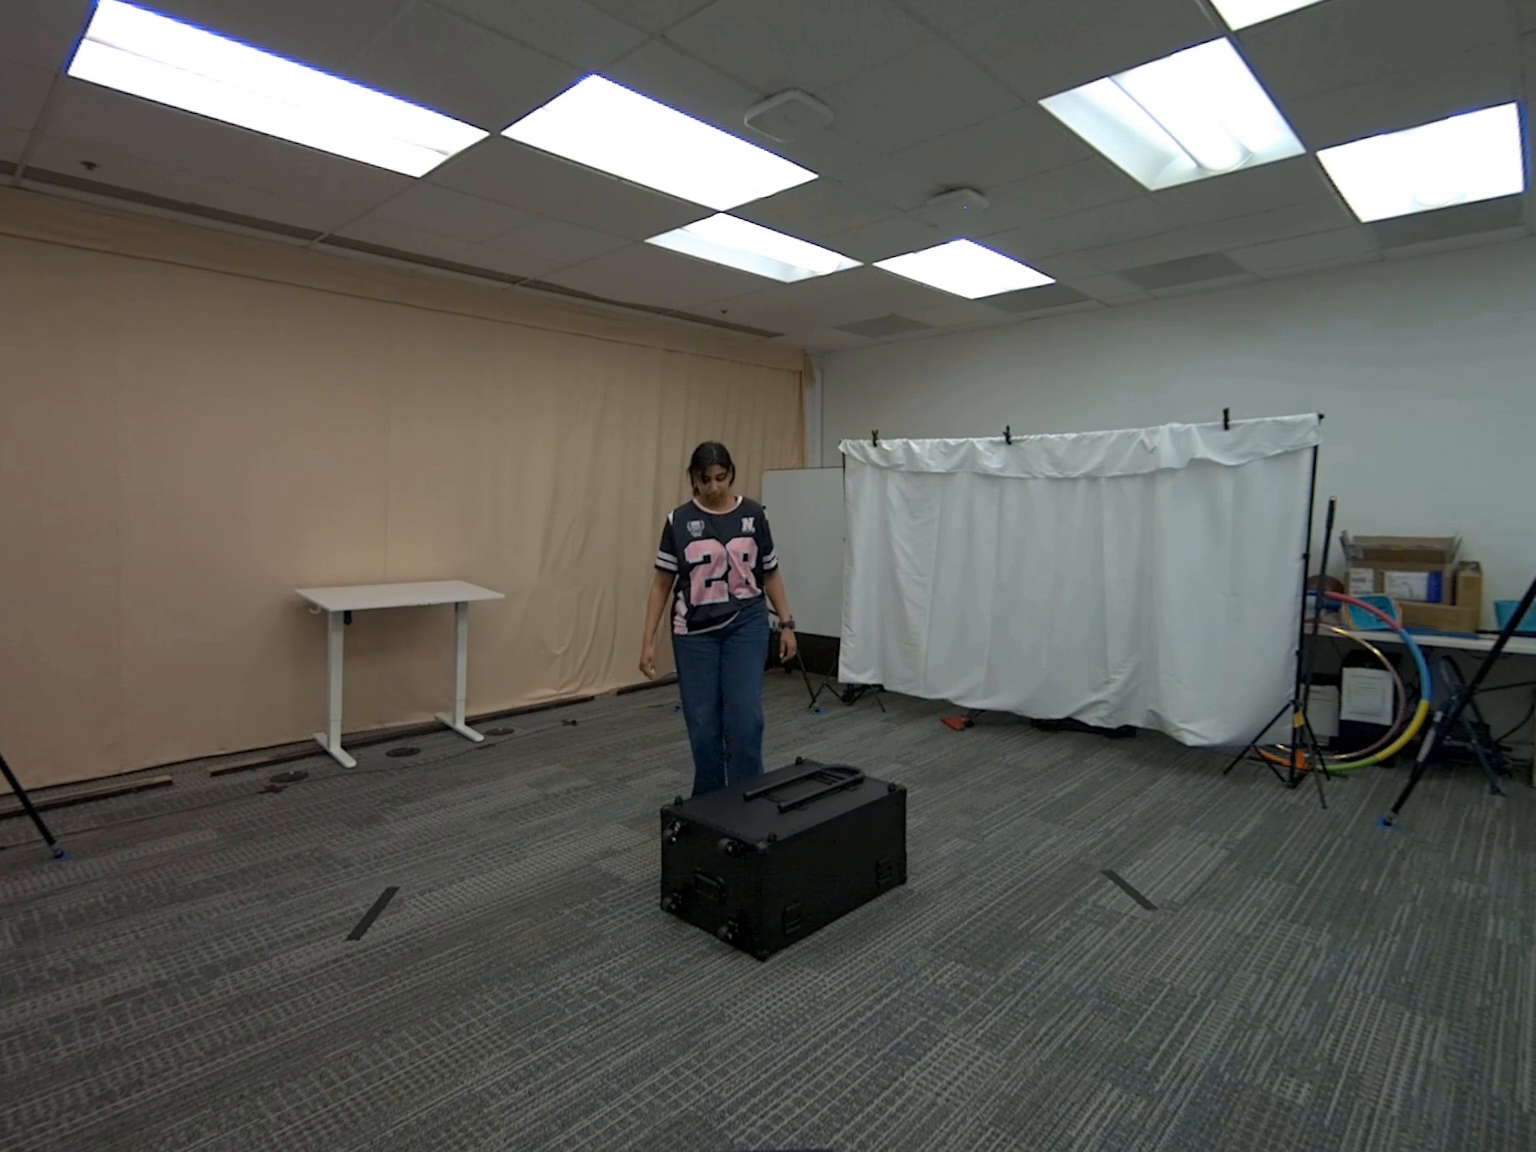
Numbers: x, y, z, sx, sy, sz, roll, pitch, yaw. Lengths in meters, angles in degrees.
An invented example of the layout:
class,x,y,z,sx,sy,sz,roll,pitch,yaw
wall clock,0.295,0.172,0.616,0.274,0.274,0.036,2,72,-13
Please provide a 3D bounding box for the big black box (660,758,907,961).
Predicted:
class,x,y,z,sx,sy,sz,roll,pitch,yaw
big black box,0.058,0.961,2.965,0.541,0.384,0.842,5,6,44
